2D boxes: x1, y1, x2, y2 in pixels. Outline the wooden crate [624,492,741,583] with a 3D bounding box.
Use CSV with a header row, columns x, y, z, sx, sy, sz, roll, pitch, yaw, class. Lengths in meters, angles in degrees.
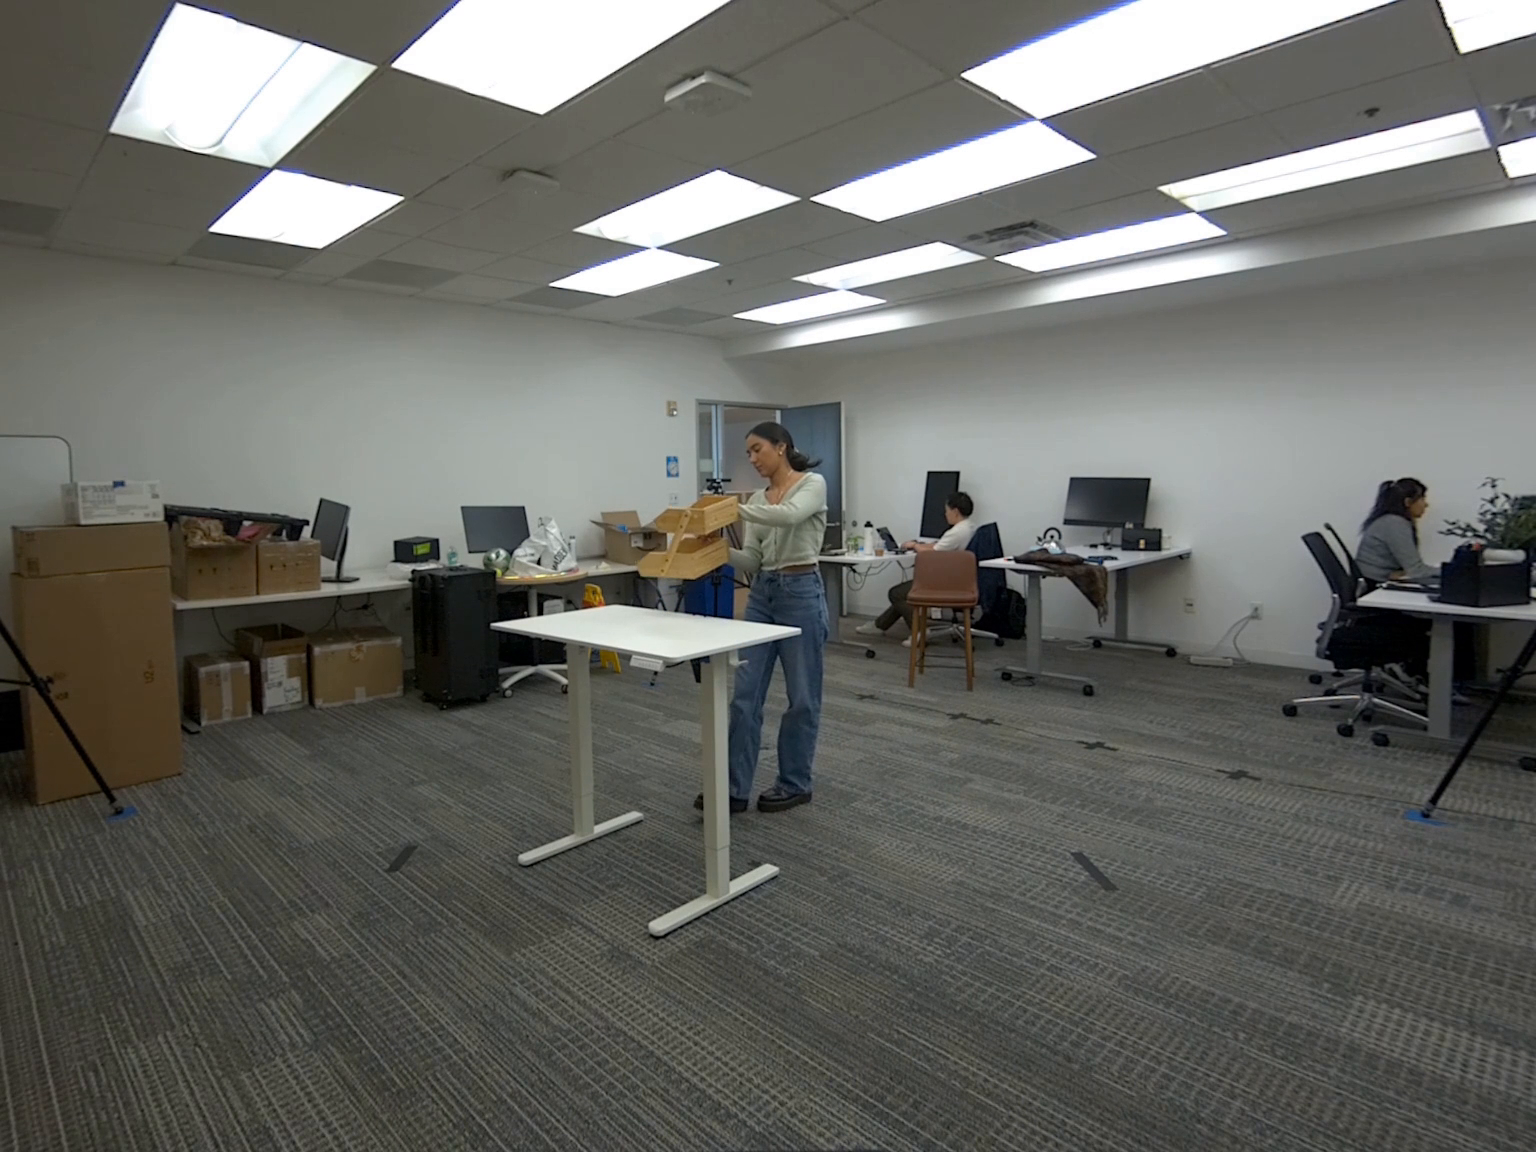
x,y,z,sx,sy,sz,roll,pitch,yaw,class
-0.319,-0.150,3.273,0.309,0.270,0.321,-2,13,25,wooden crate
